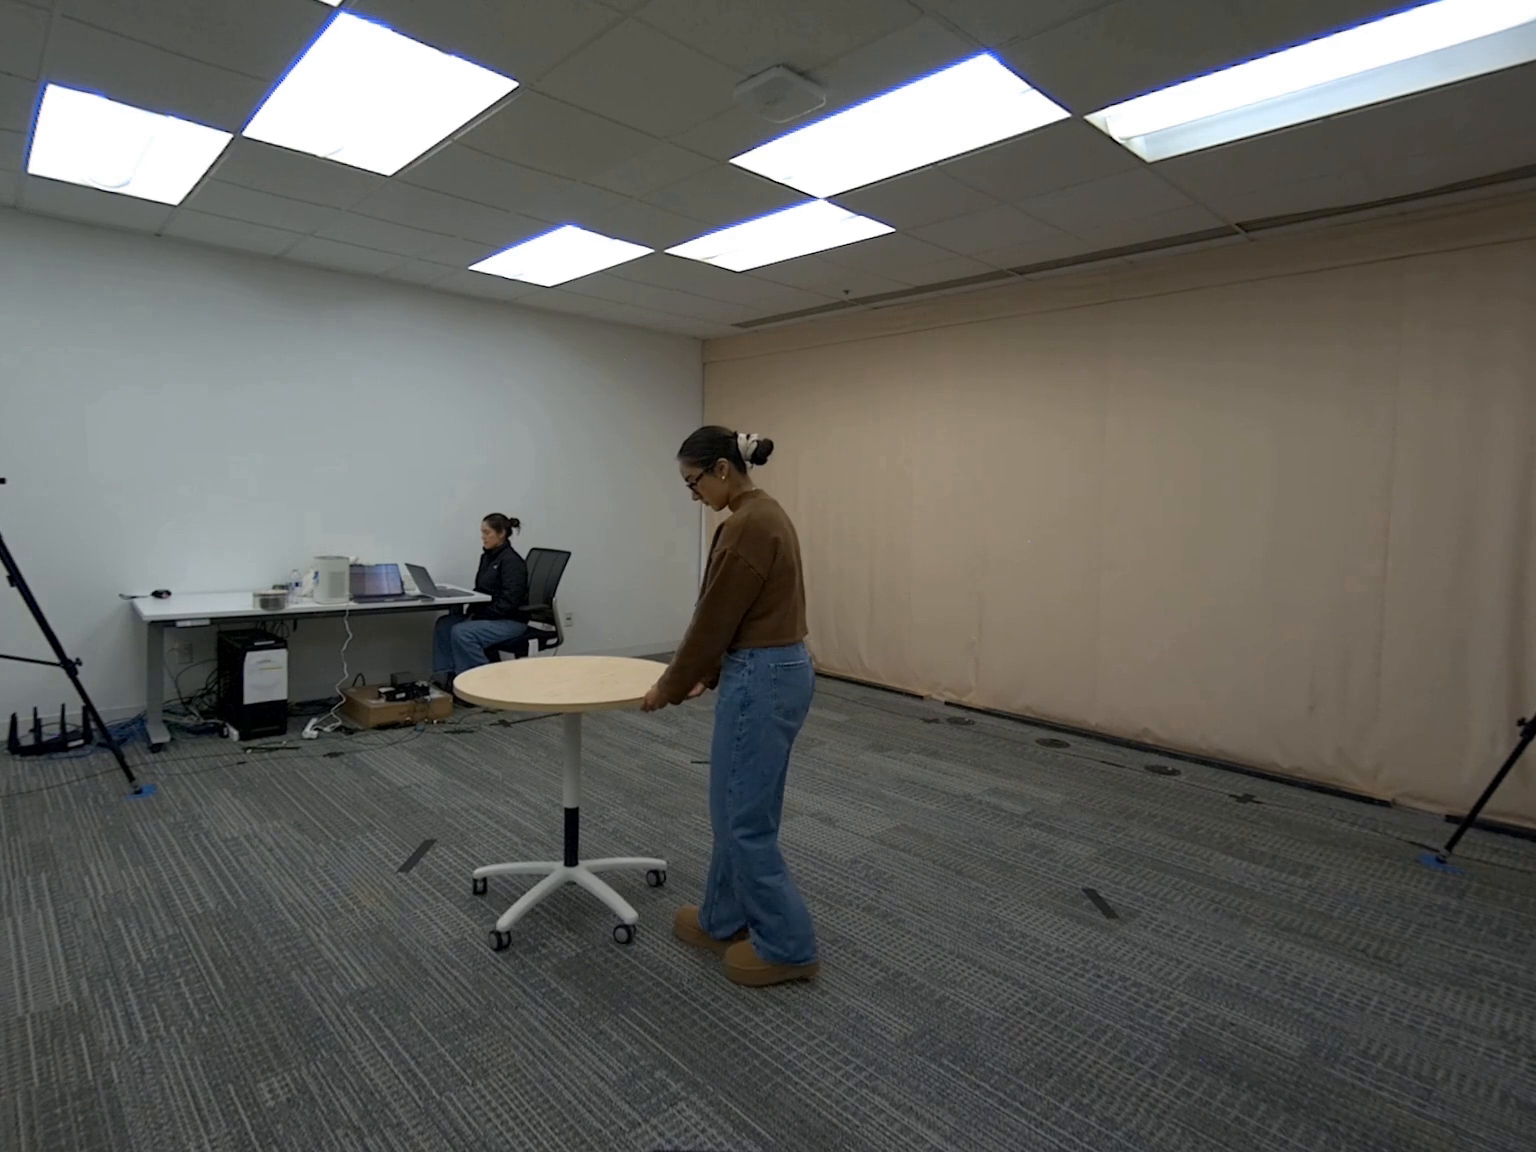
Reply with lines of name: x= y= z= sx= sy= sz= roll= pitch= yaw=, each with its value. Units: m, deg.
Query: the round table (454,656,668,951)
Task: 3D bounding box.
round table: x=-0.664 y=0.732 z=2.842 sx=0.763 sy=0.792 sz=0.766 roll=1 pitch=4 yaw=-1
